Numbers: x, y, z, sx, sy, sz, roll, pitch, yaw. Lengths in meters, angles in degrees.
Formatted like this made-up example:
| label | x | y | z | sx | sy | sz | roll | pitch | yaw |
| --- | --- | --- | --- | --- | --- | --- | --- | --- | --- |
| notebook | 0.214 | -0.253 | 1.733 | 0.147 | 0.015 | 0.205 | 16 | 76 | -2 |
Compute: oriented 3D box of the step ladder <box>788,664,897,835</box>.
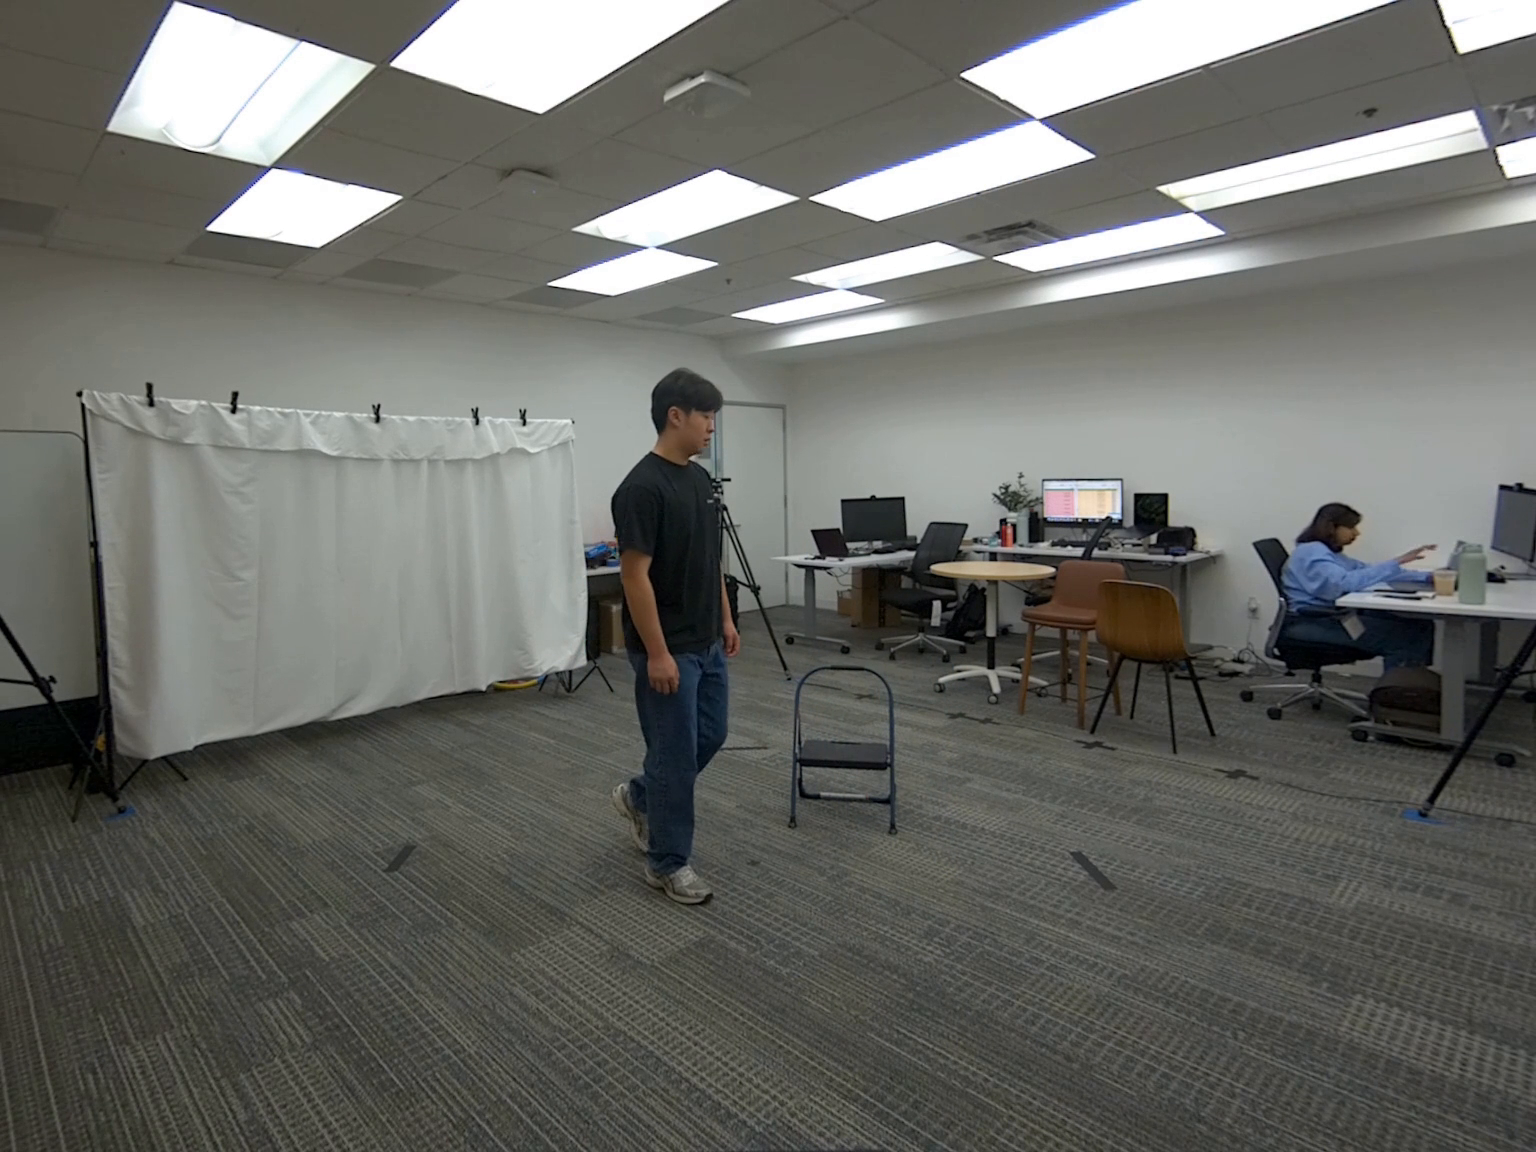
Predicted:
| label | x | y | z | sx | sy | sz | roll | pitch | yaw |
| --- | --- | --- | --- | --- | --- | --- | --- | --- | --- |
| step ladder | 0.316 | 0.687 | 3.525 | 0.435 | 0.604 | 0.347 | 0 | 5 | 9 |
